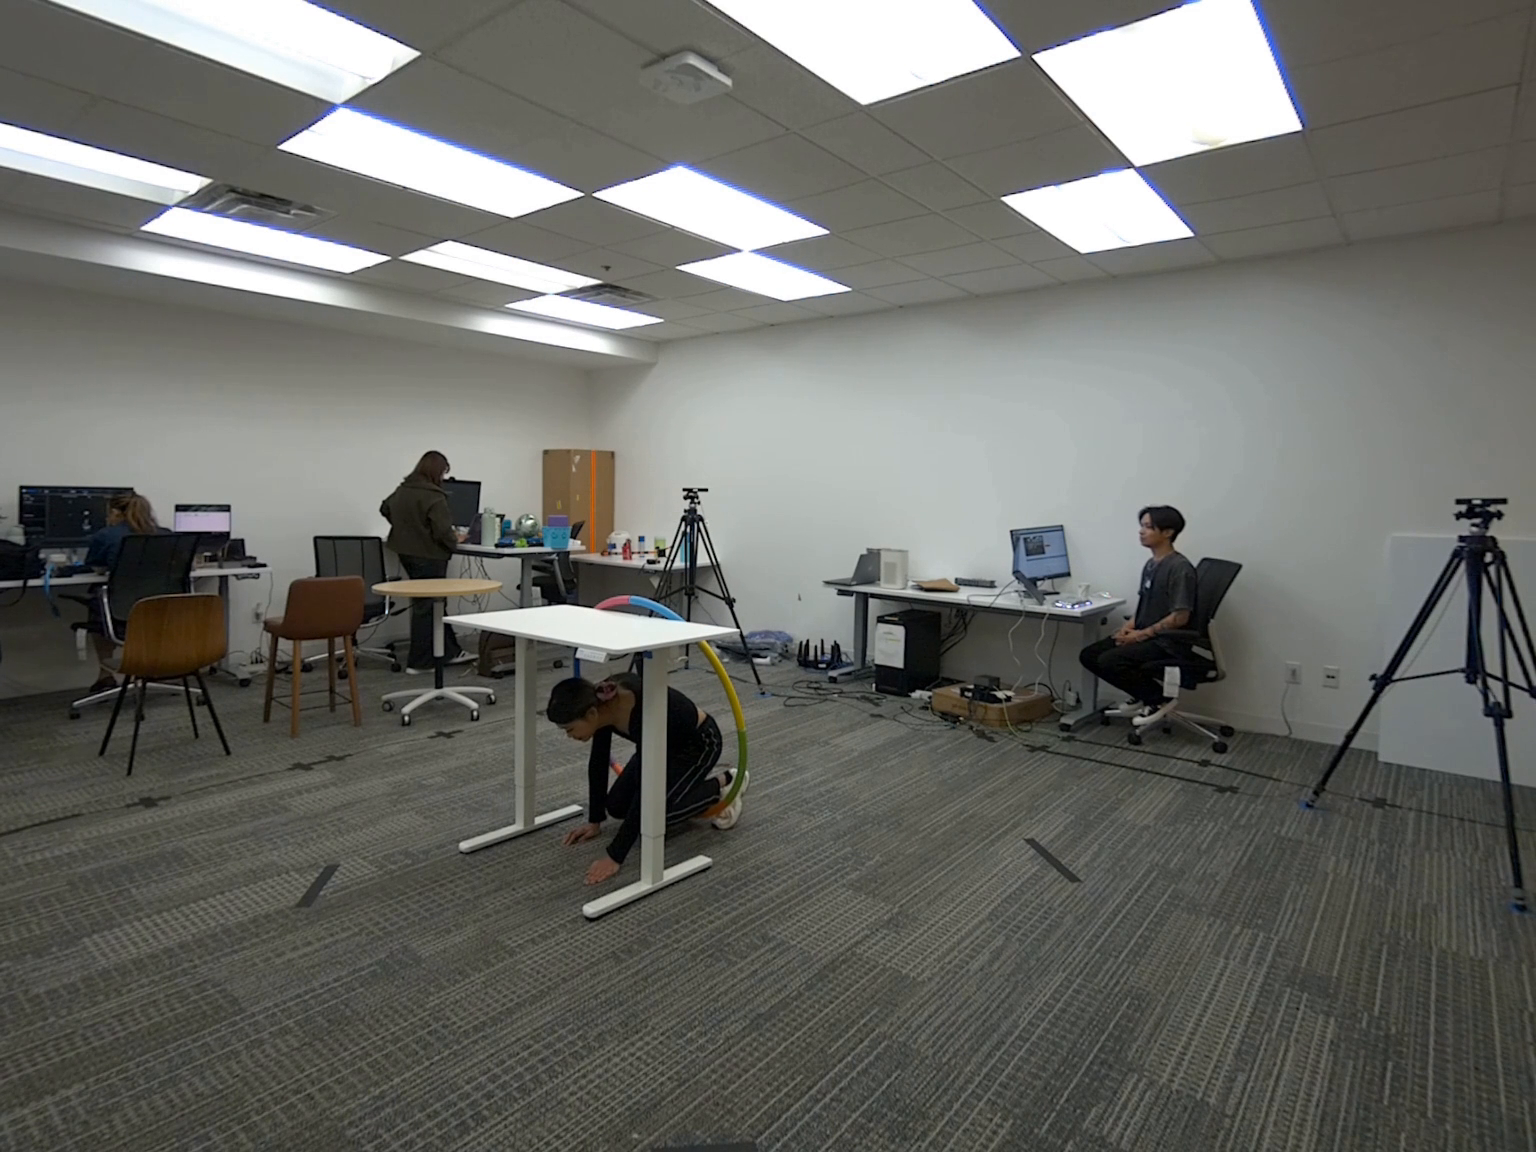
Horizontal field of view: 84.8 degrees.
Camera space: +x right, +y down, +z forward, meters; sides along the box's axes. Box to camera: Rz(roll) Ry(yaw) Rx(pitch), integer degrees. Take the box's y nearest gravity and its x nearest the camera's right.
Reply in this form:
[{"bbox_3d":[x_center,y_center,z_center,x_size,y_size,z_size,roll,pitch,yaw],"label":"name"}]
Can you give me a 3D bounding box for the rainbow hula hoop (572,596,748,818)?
[{"bbox_3d":[-0.487,0.554,3.535,1.011,0.963,0.035,4,19,40],"label":"rainbow hula hoop"}]
